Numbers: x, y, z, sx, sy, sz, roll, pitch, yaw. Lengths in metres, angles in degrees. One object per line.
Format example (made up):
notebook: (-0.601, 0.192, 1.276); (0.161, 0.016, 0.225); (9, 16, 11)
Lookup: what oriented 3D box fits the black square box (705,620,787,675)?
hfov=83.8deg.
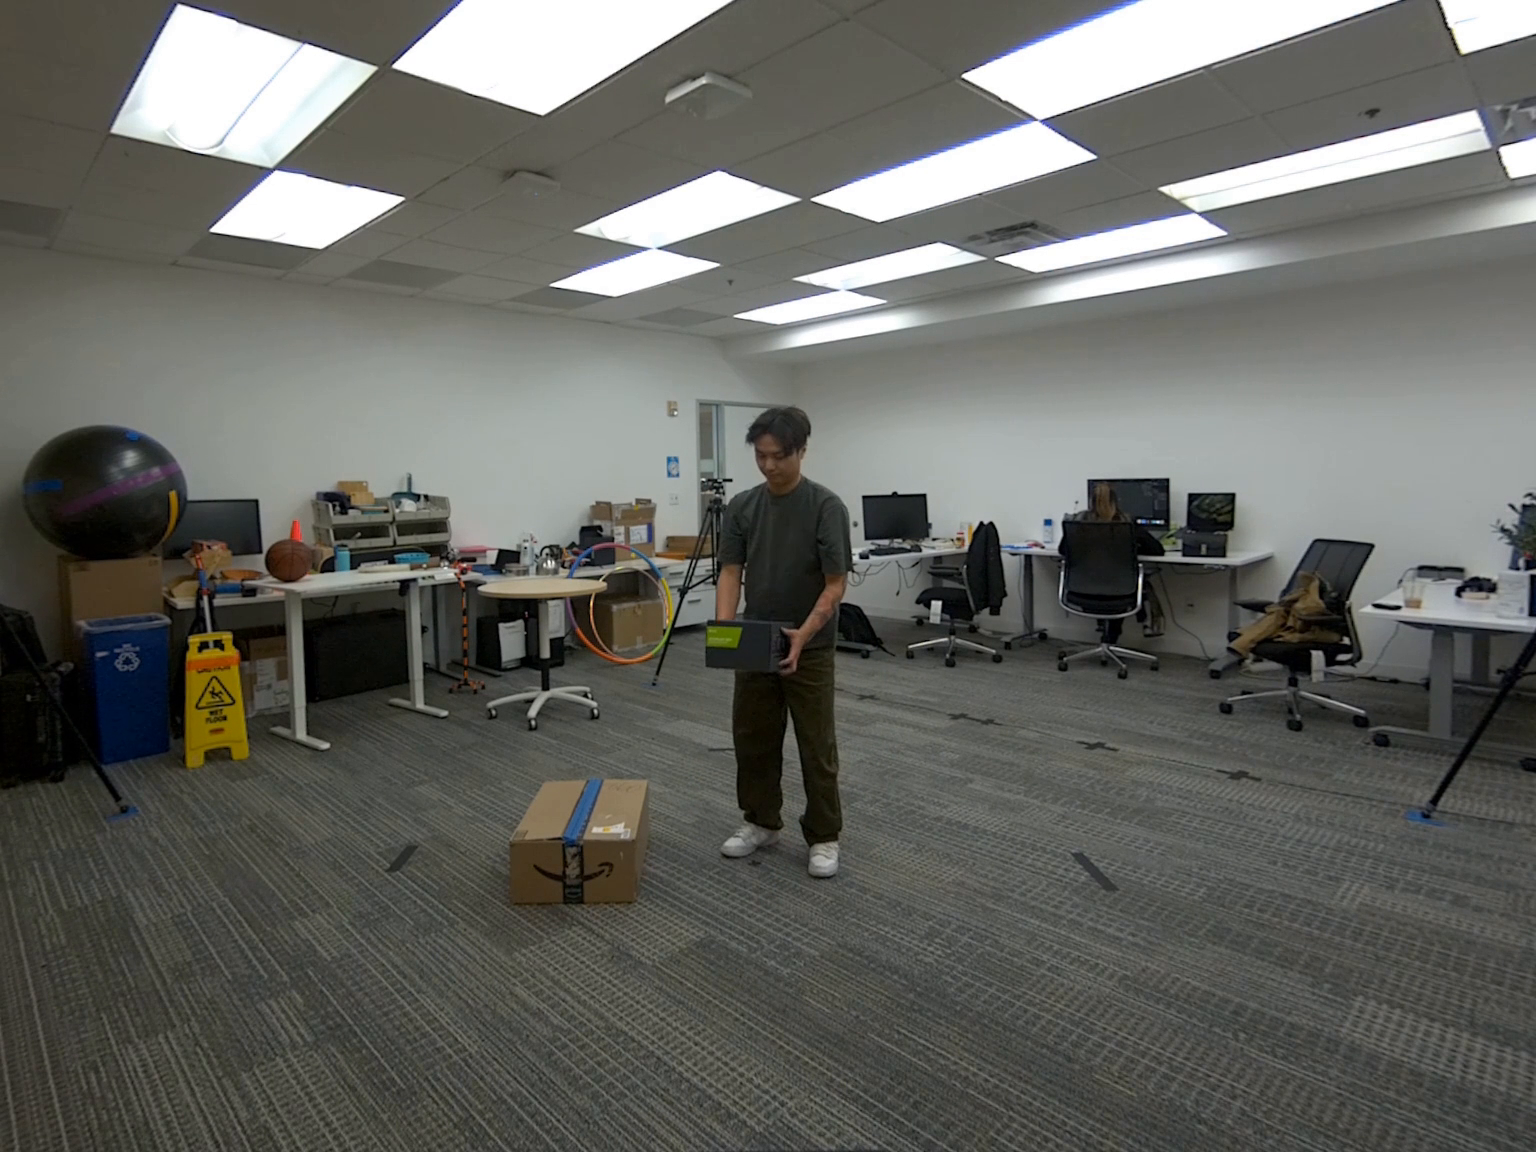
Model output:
black square box: (-0.065, 0.232, 2.838); (0.233, 0.156, 0.212); (2, -2, 22)
